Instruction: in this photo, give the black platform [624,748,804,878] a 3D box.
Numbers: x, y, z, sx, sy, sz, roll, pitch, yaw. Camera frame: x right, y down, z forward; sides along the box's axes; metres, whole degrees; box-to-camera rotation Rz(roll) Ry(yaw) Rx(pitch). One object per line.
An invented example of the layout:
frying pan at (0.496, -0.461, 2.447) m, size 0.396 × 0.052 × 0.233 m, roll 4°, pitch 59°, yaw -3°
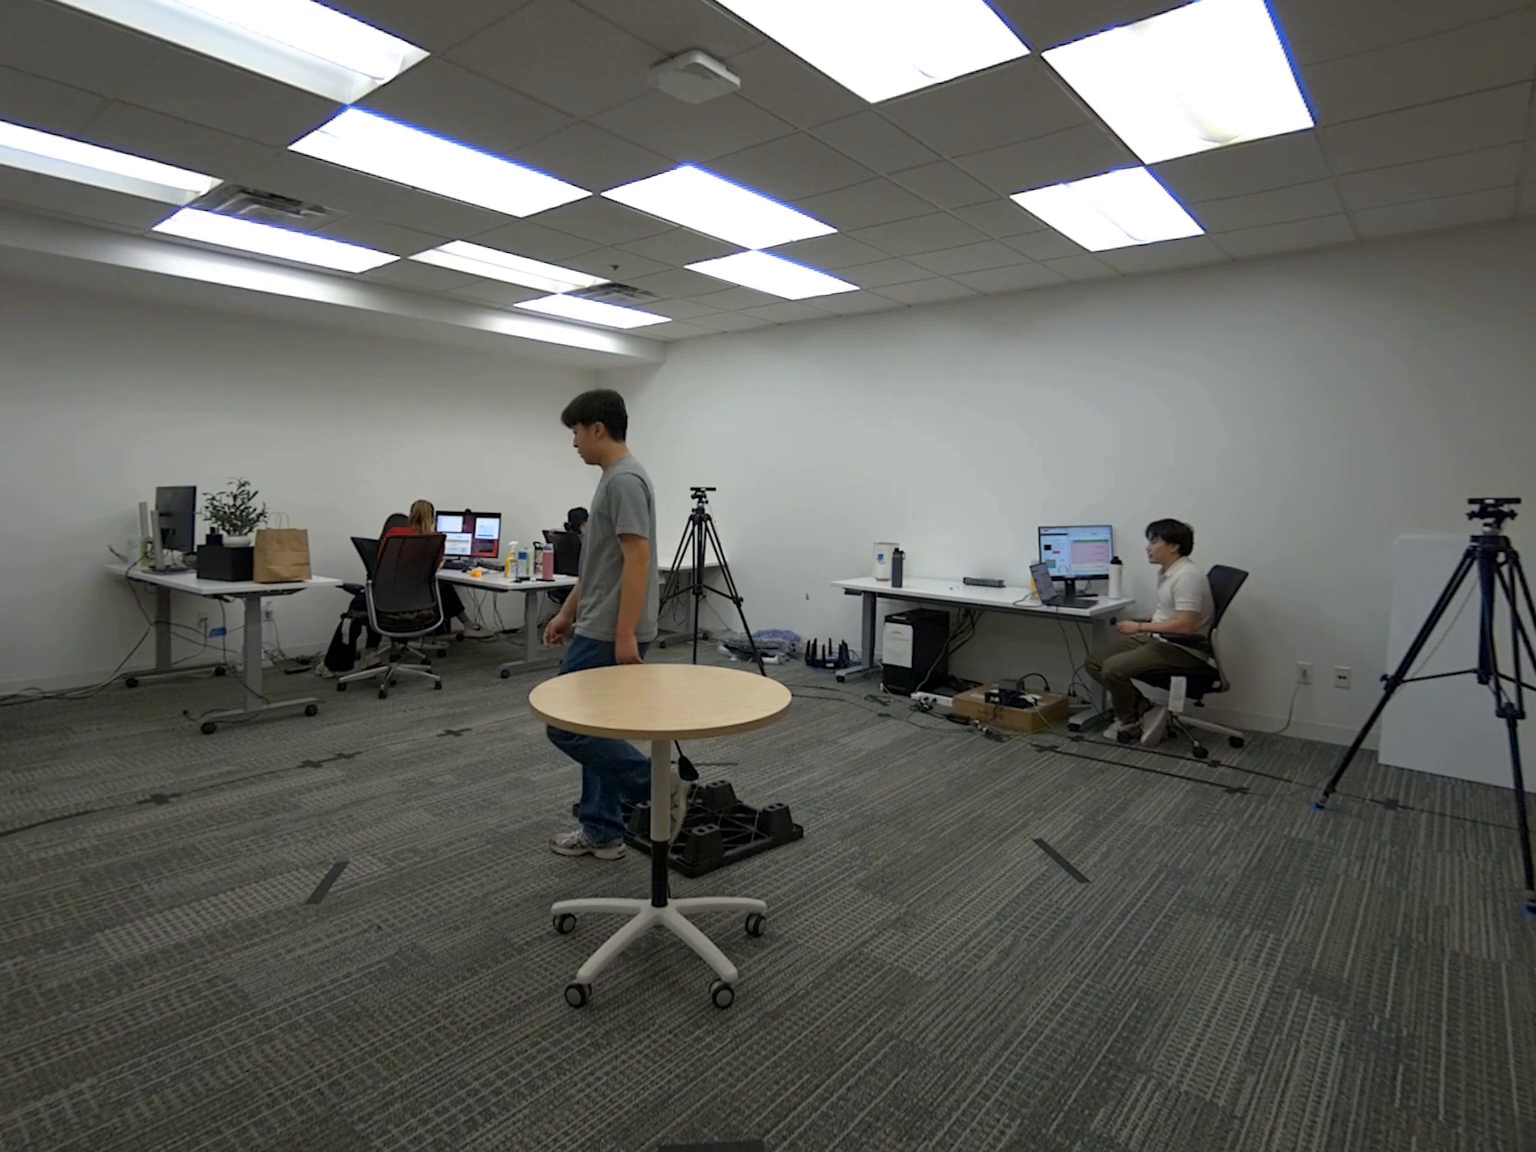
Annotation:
black platform at (-0.355, 0.959, 3.505) m, size 0.587 × 0.143 × 0.833 m, roll -4°, pitch 7°, yaw -44°
